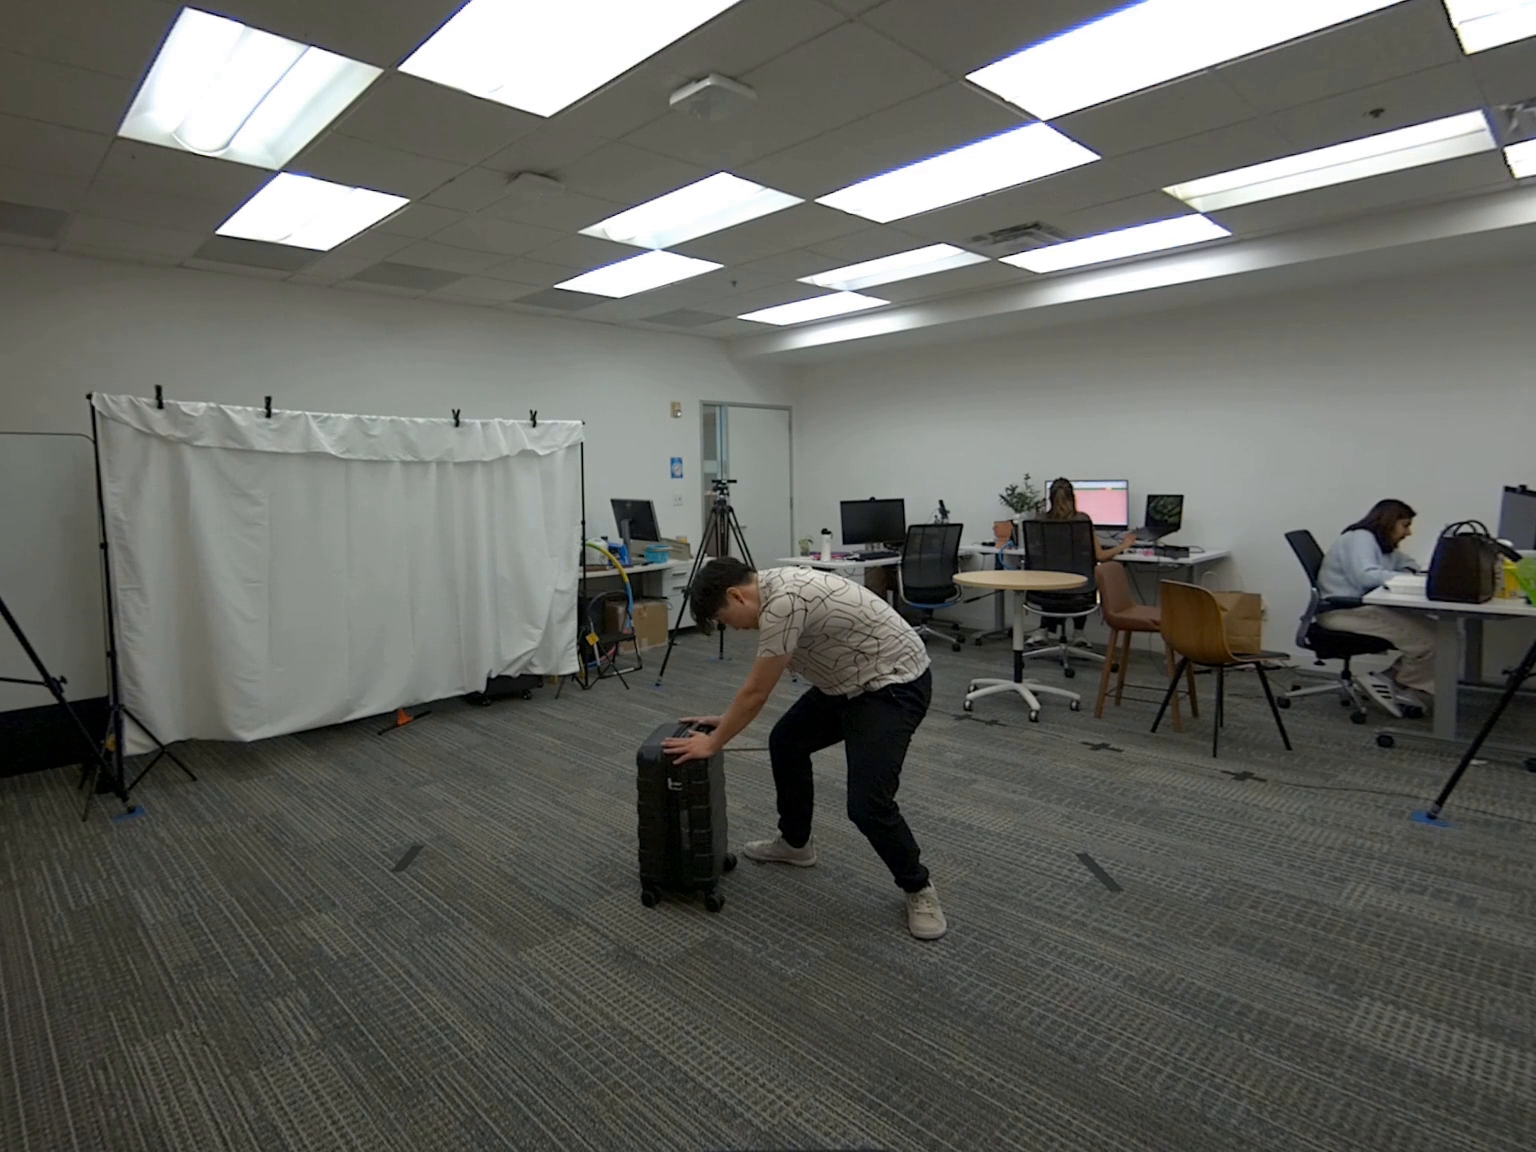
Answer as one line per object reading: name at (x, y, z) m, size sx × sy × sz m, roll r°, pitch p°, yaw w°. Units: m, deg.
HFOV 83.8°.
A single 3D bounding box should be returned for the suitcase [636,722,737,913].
suitcase at (-0.287, 0.798, 2.940) m, size 0.251 × 0.548 × 0.372 m, roll -4°, pitch 3°, yaw 11°
